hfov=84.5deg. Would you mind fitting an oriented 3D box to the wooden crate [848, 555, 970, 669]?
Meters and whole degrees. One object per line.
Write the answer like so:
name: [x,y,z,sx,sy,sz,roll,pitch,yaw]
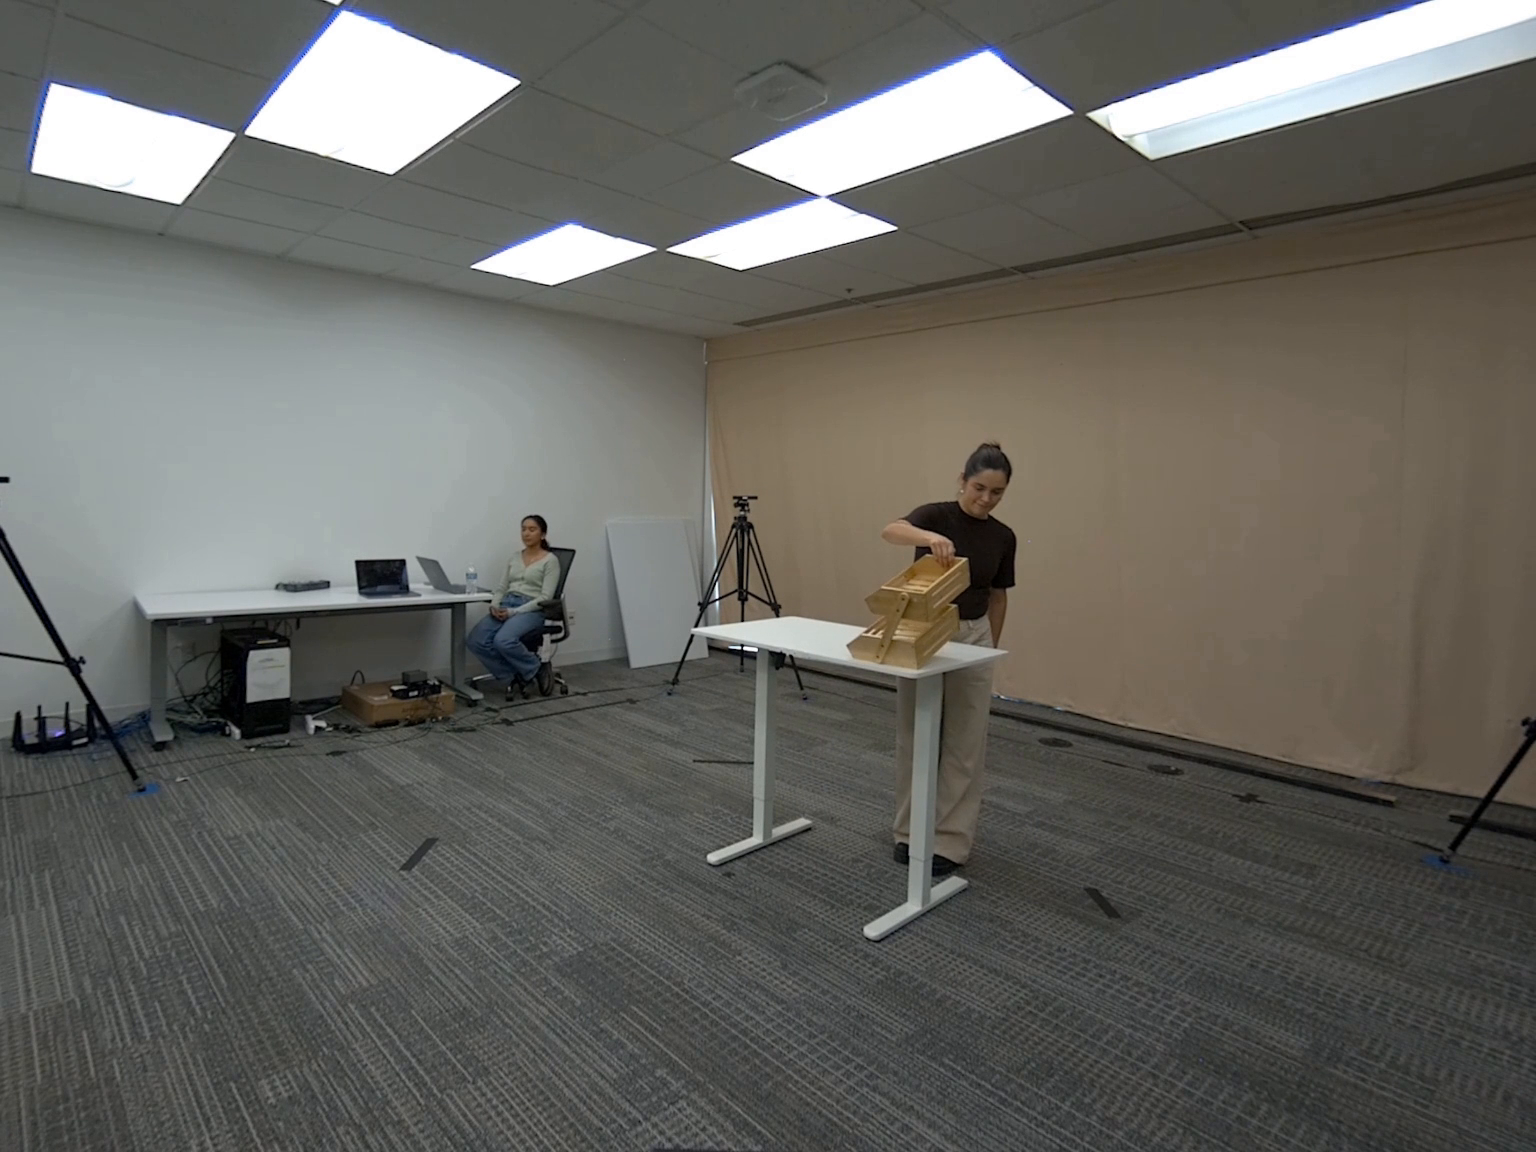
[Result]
wooden crate: [0.443,0.102,2.697,0.310,0.269,0.321,6,25,38]
